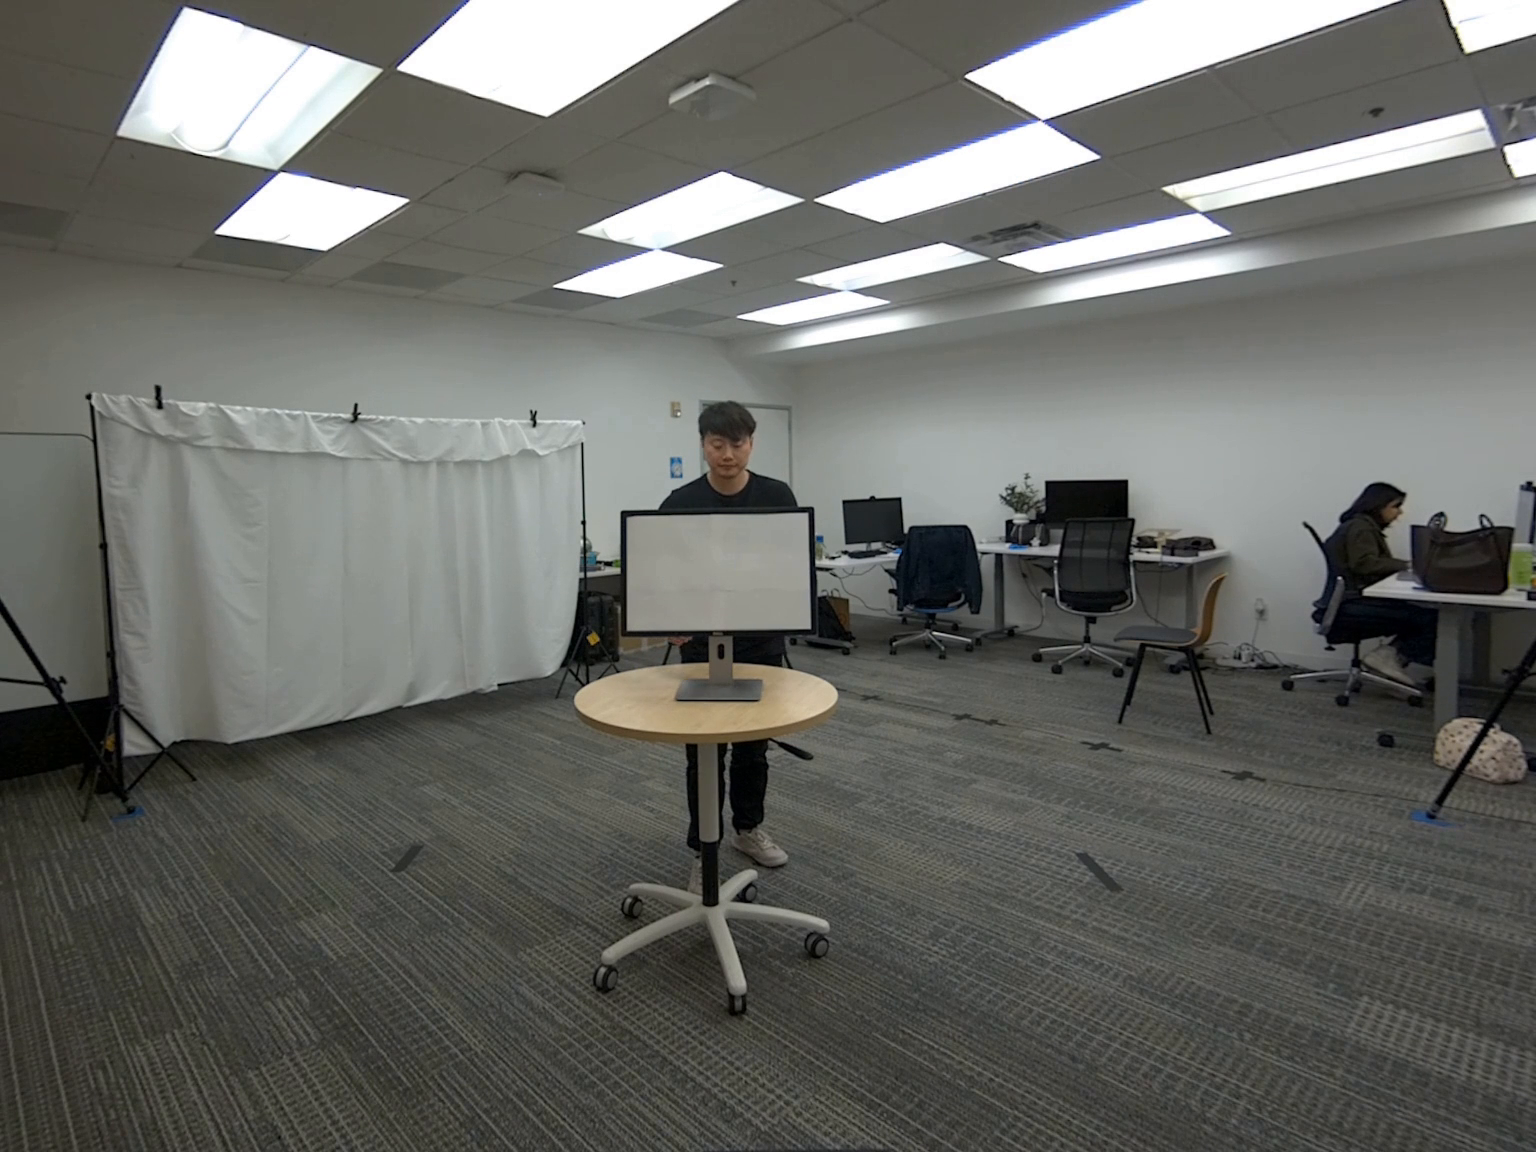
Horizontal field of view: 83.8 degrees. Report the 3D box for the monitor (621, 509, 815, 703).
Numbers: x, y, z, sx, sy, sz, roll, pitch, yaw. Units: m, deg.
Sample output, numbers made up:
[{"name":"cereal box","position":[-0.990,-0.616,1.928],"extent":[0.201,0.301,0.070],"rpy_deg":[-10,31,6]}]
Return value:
[{"name":"monitor","position":[-0.149,0.082,2.487],"extent":[0.540,0.520,0.187],"rpy_deg":[-1,6,3]}]
